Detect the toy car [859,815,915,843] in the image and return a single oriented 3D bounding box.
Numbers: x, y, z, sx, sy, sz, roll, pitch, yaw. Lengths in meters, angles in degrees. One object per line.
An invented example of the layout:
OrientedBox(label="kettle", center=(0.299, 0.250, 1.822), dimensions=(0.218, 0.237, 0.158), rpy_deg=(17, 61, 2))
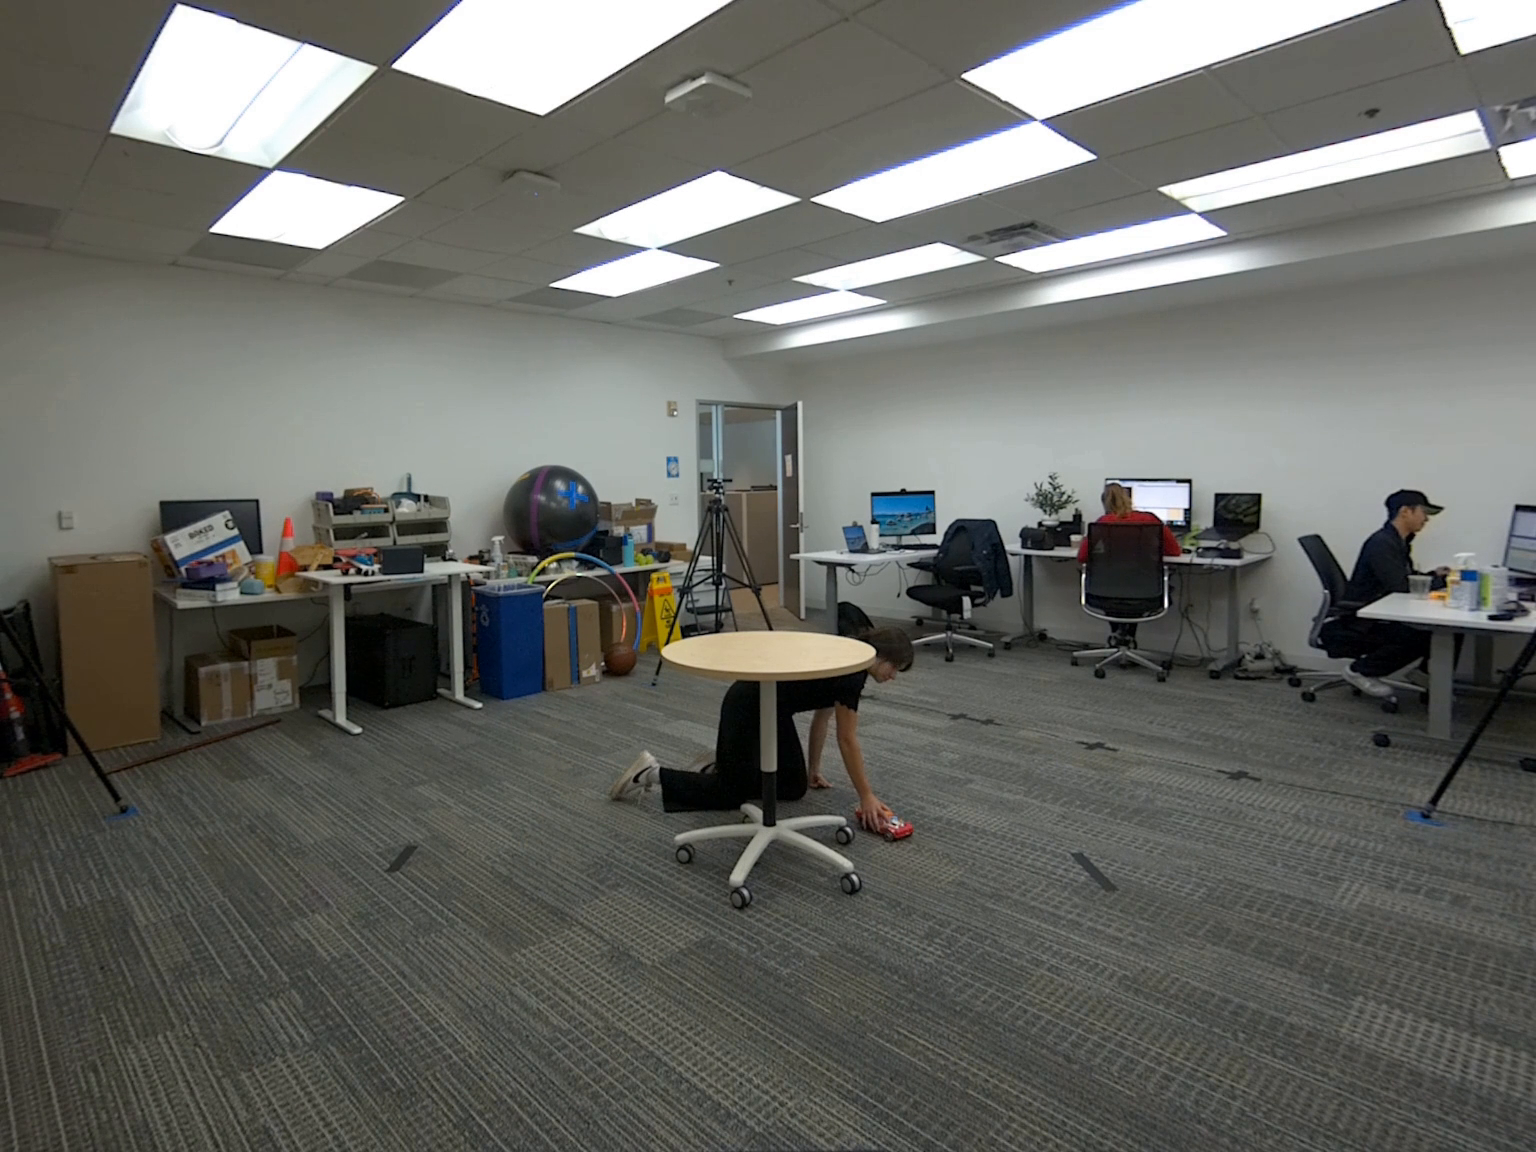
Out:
OrientedBox(label="toy car", center=(0.453, 0.975, 3.391), dimensions=(0.127, 0.082, 0.264), rpy_deg=(-5, 17, -34))
